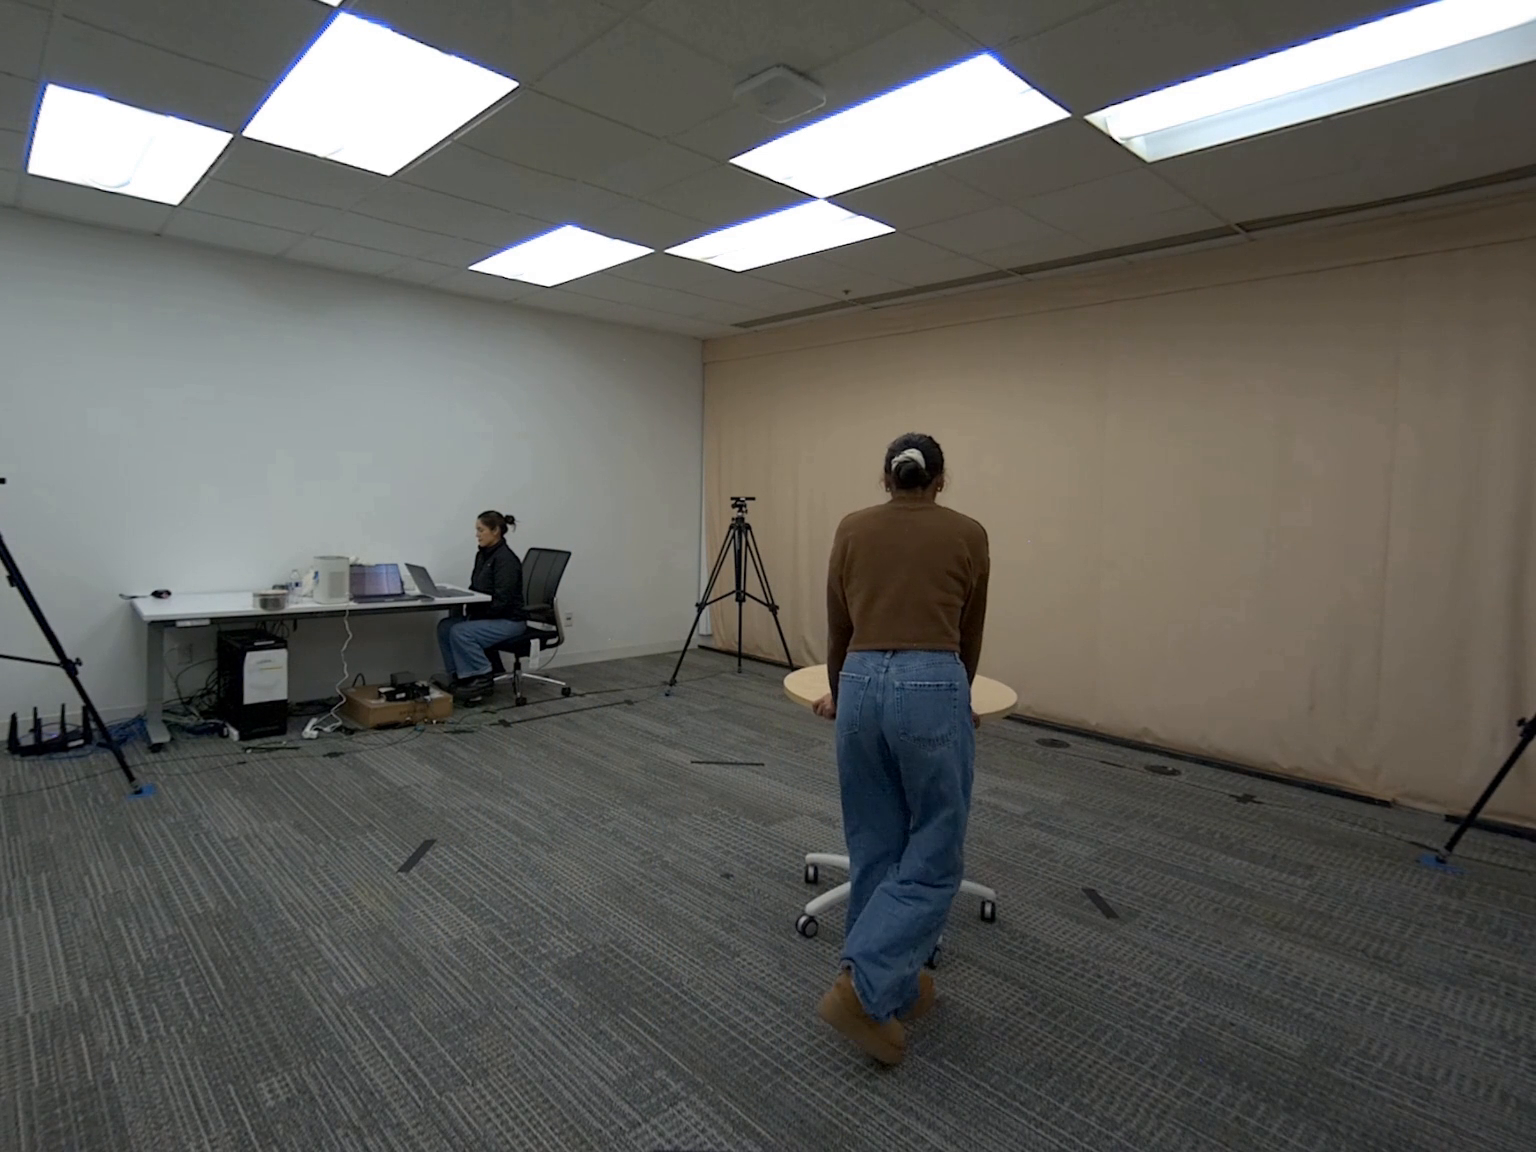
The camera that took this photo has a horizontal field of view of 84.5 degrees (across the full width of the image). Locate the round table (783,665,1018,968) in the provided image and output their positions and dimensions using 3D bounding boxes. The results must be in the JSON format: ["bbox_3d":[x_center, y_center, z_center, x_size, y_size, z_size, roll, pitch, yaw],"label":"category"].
[{"bbox_3d":[0.424,0.764,2.845,0.763,0.791,0.767,1,5,-1],"label":"round table"}]
